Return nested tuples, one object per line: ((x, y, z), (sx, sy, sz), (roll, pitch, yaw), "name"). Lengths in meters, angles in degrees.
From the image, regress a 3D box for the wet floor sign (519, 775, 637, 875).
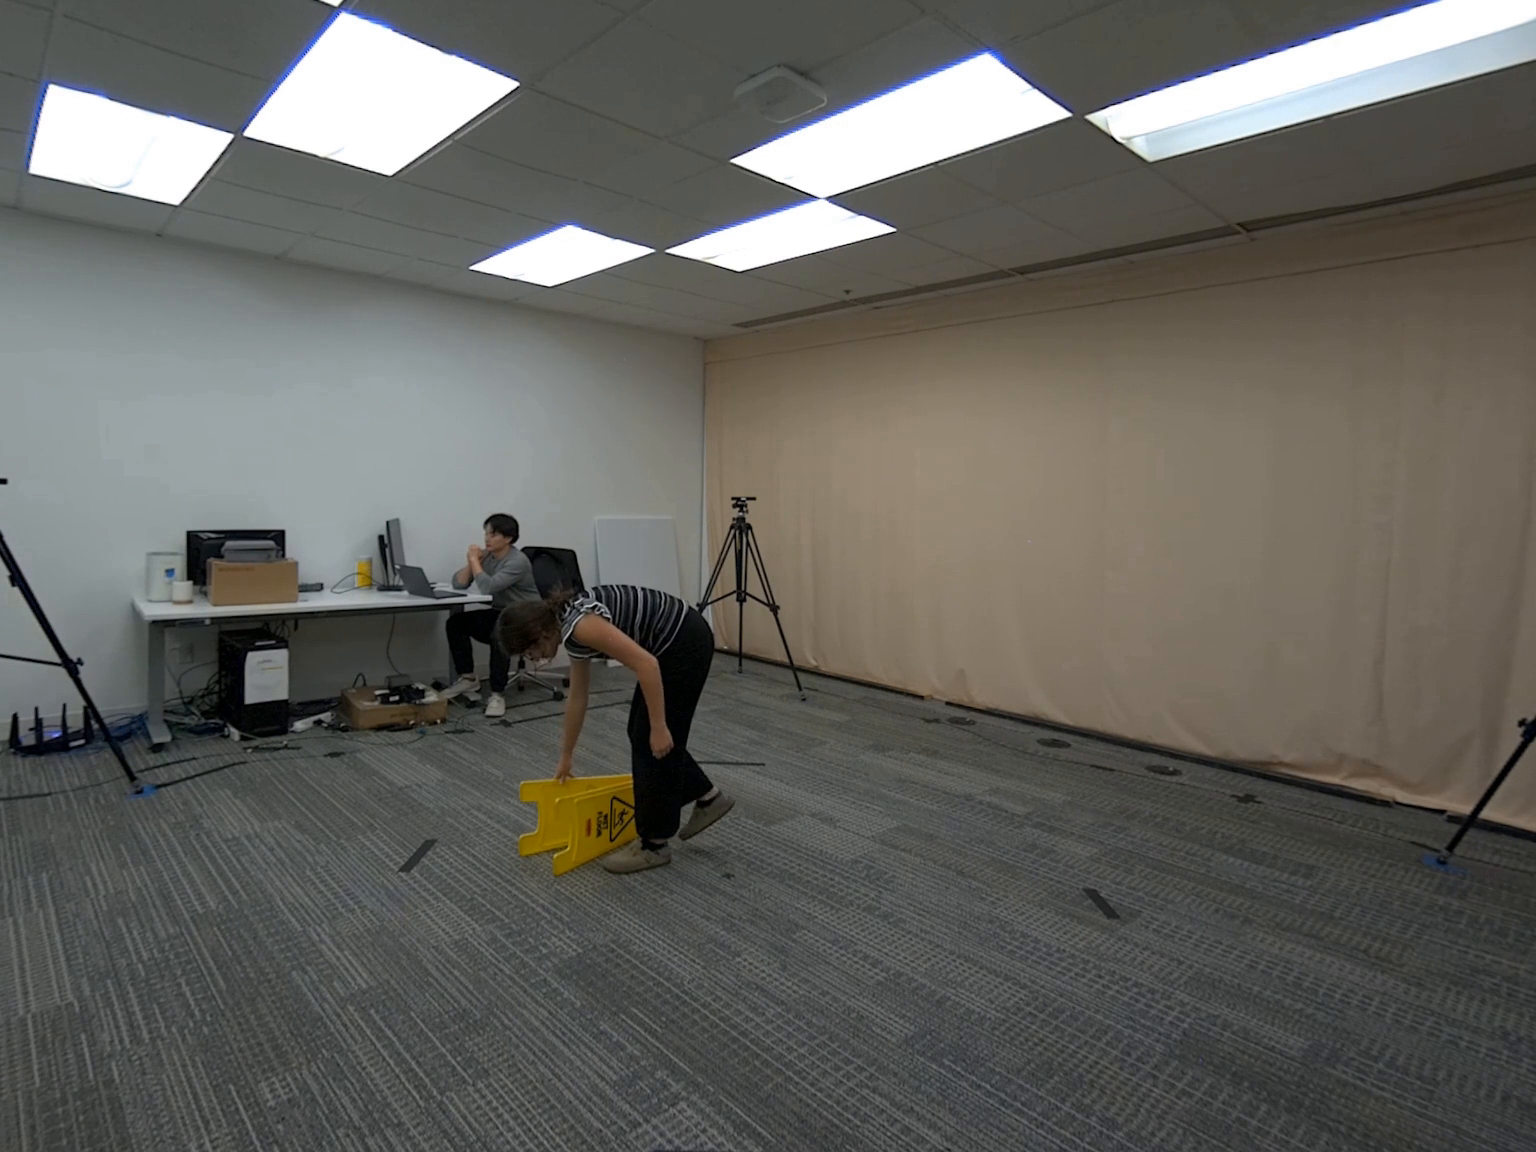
((-0.659, 0.946, 3.381), (0.297, 0.282, 0.630), (2, 0, 43), "wet floor sign")
